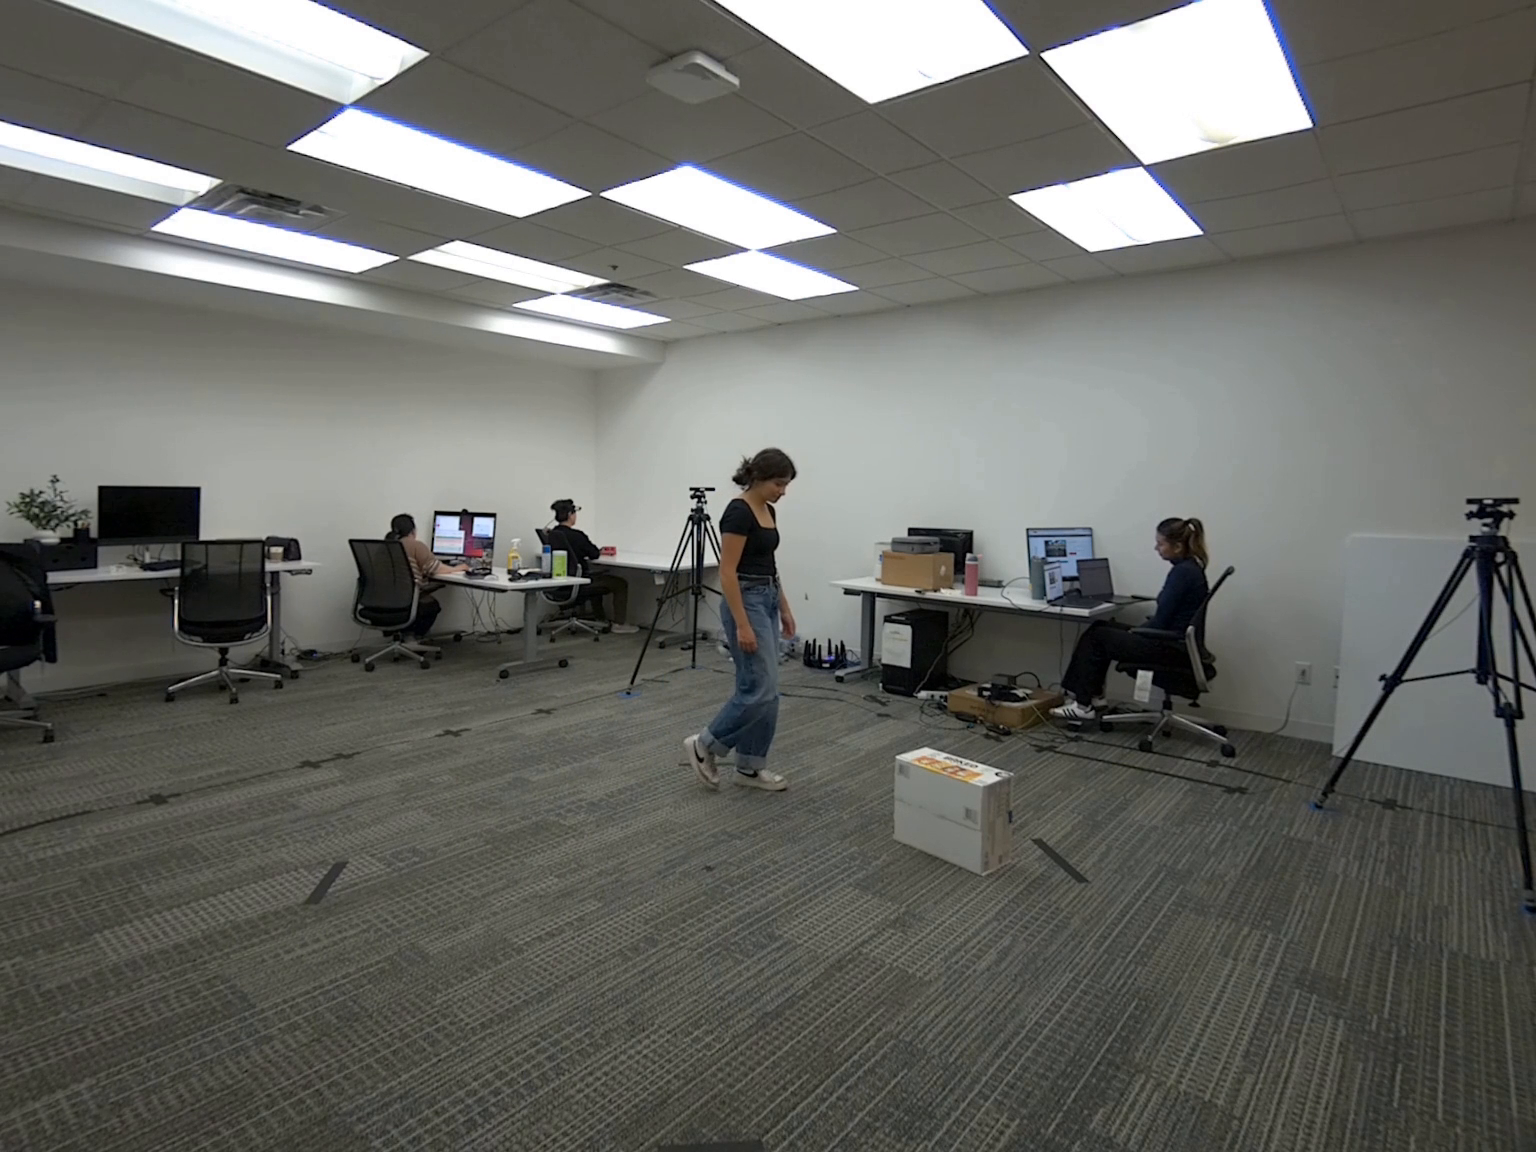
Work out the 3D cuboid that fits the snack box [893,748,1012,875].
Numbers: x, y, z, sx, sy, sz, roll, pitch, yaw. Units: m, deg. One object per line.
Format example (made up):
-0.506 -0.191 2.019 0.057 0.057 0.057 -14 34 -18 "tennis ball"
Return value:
0.710 0.898 3.305 0.199 0.339 0.419 -4 7 -42 "snack box"
